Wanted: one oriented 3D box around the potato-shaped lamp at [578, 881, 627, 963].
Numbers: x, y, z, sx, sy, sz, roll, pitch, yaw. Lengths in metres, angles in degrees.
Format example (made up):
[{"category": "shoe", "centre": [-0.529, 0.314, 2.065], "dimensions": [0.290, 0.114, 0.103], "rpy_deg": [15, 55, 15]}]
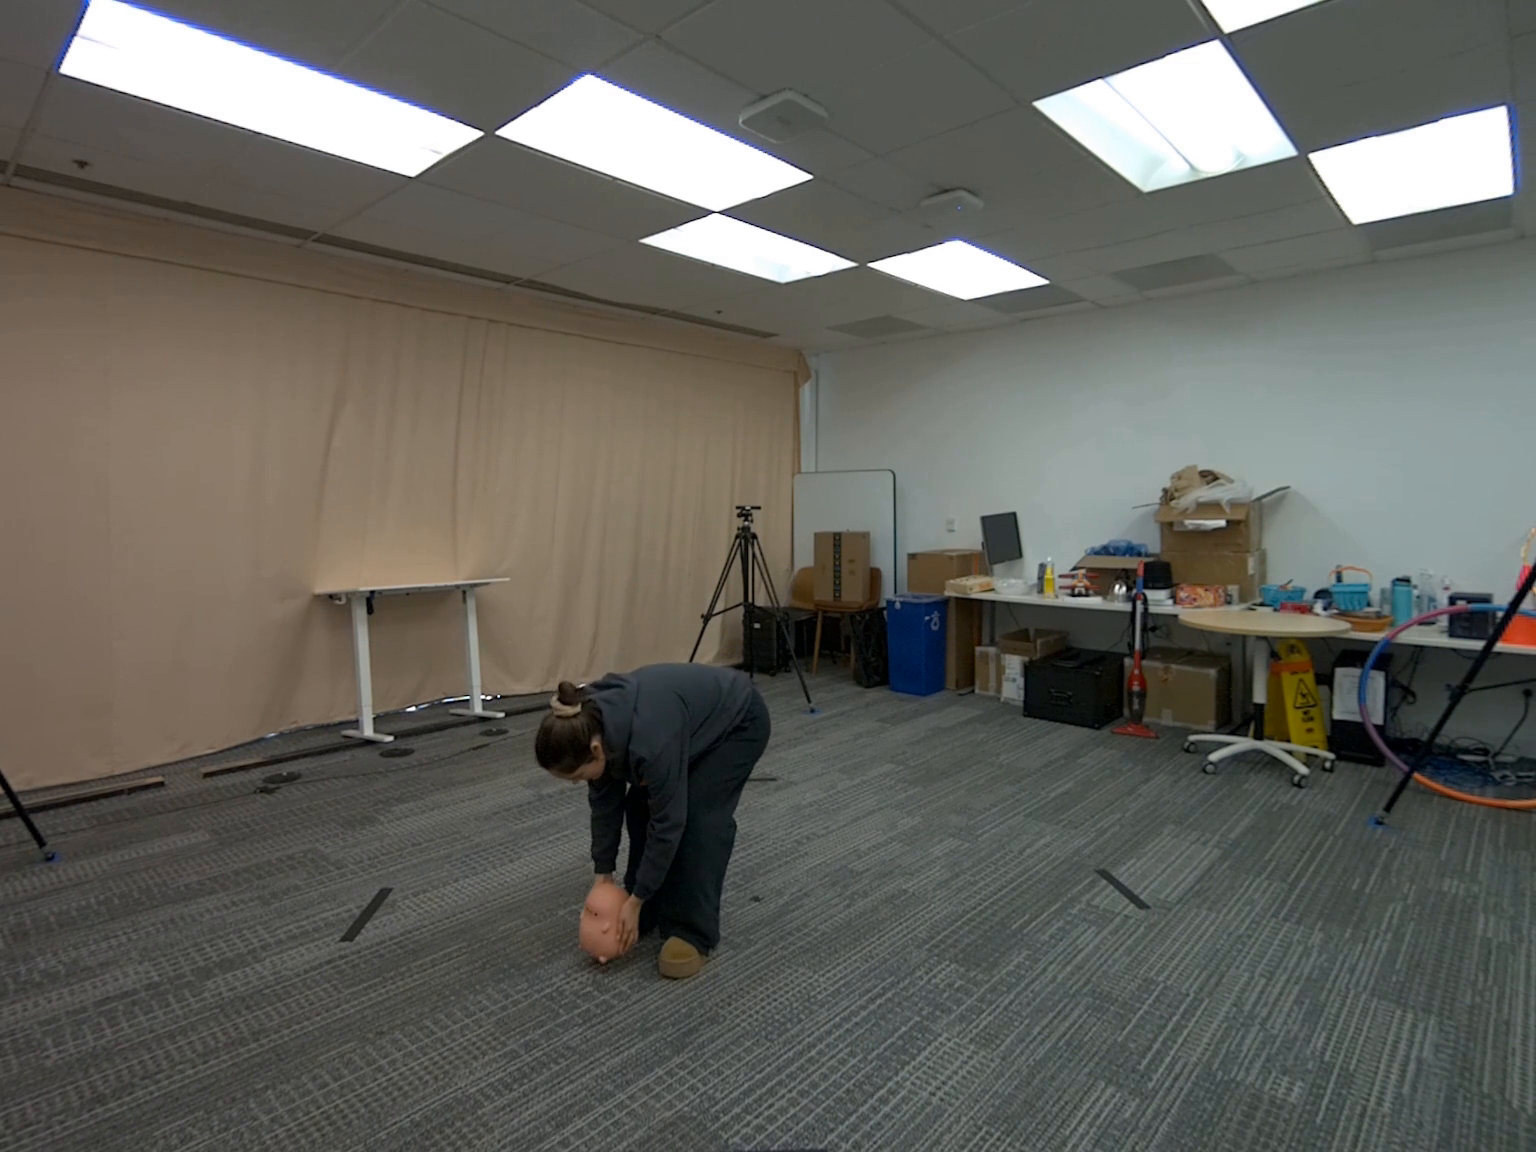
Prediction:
[{"category": "potato-shaped lamp", "centre": [-0.476, 1.030, 2.566], "dimensions": [0.170, 0.197, 0.166], "rpy_deg": [4, 9, 44]}]
